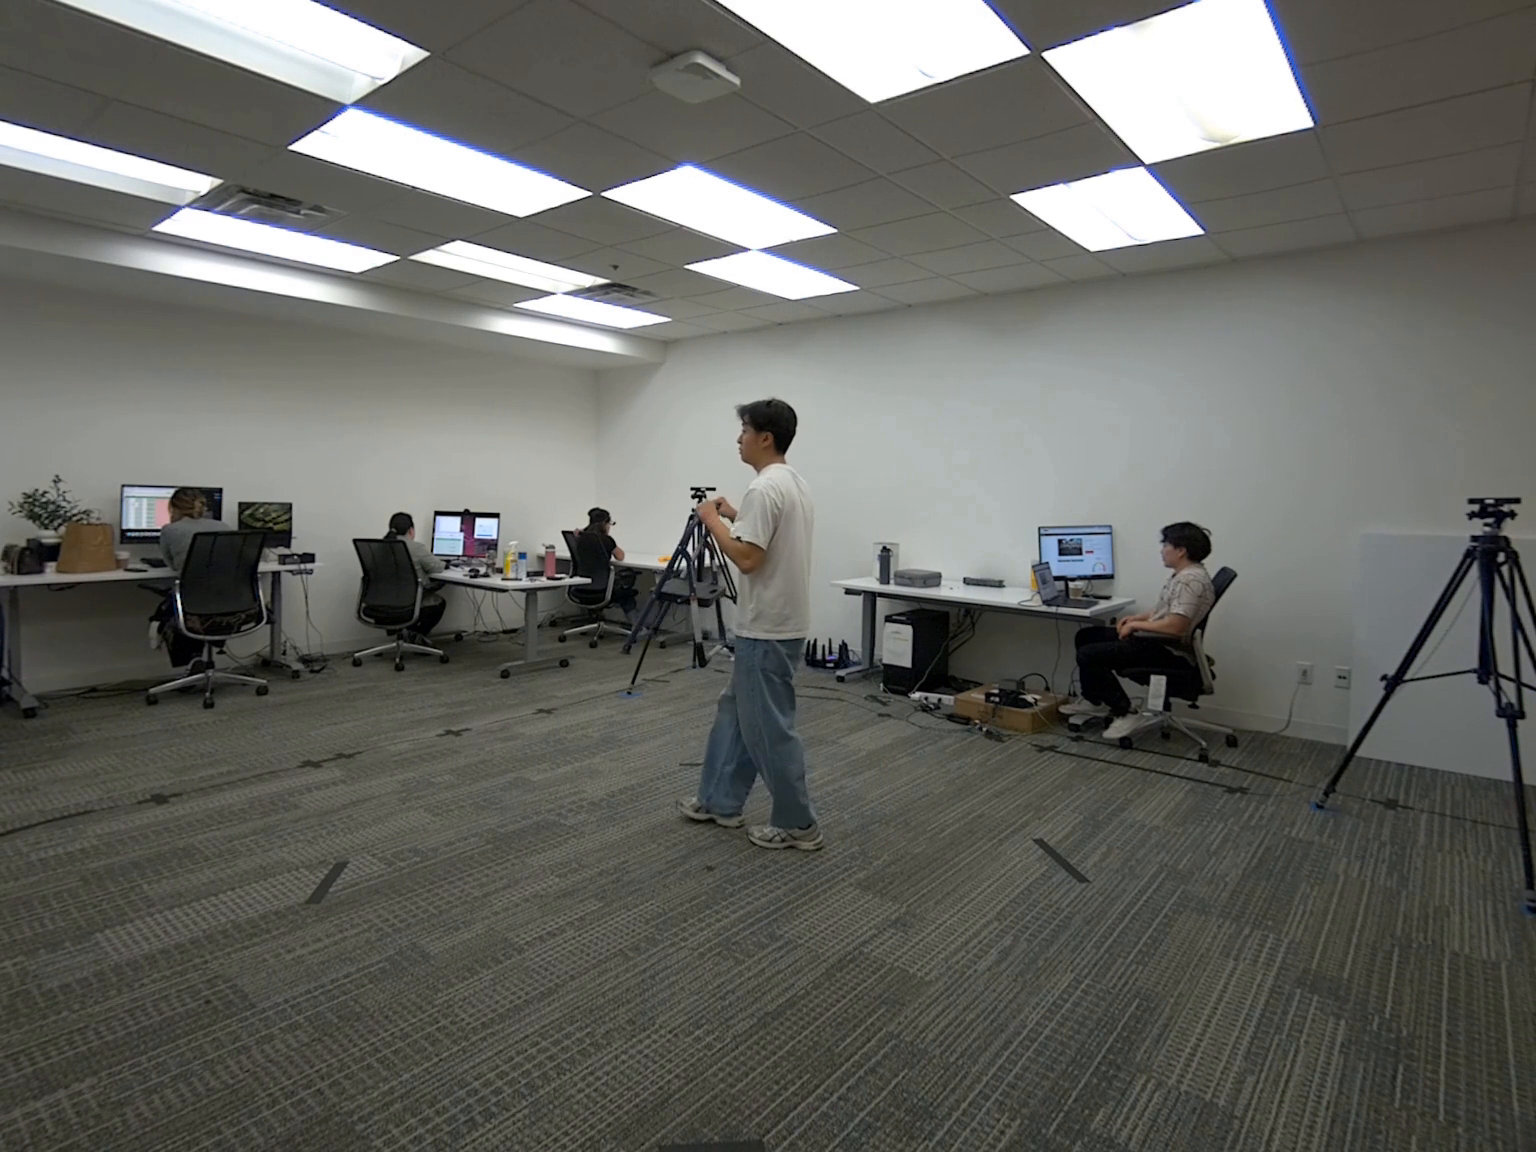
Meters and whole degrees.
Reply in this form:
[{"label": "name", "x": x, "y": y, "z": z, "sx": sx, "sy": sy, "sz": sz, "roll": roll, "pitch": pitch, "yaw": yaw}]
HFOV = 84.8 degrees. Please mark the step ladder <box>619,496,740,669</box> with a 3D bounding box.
[{"label": "step ladder", "x": -0.345, "y": 0.003, "z": 3.425, "sx": 0.353, "sy": 0.603, "sz": 0.428, "roll": 8, "pitch": 6, "yaw": 8}]
